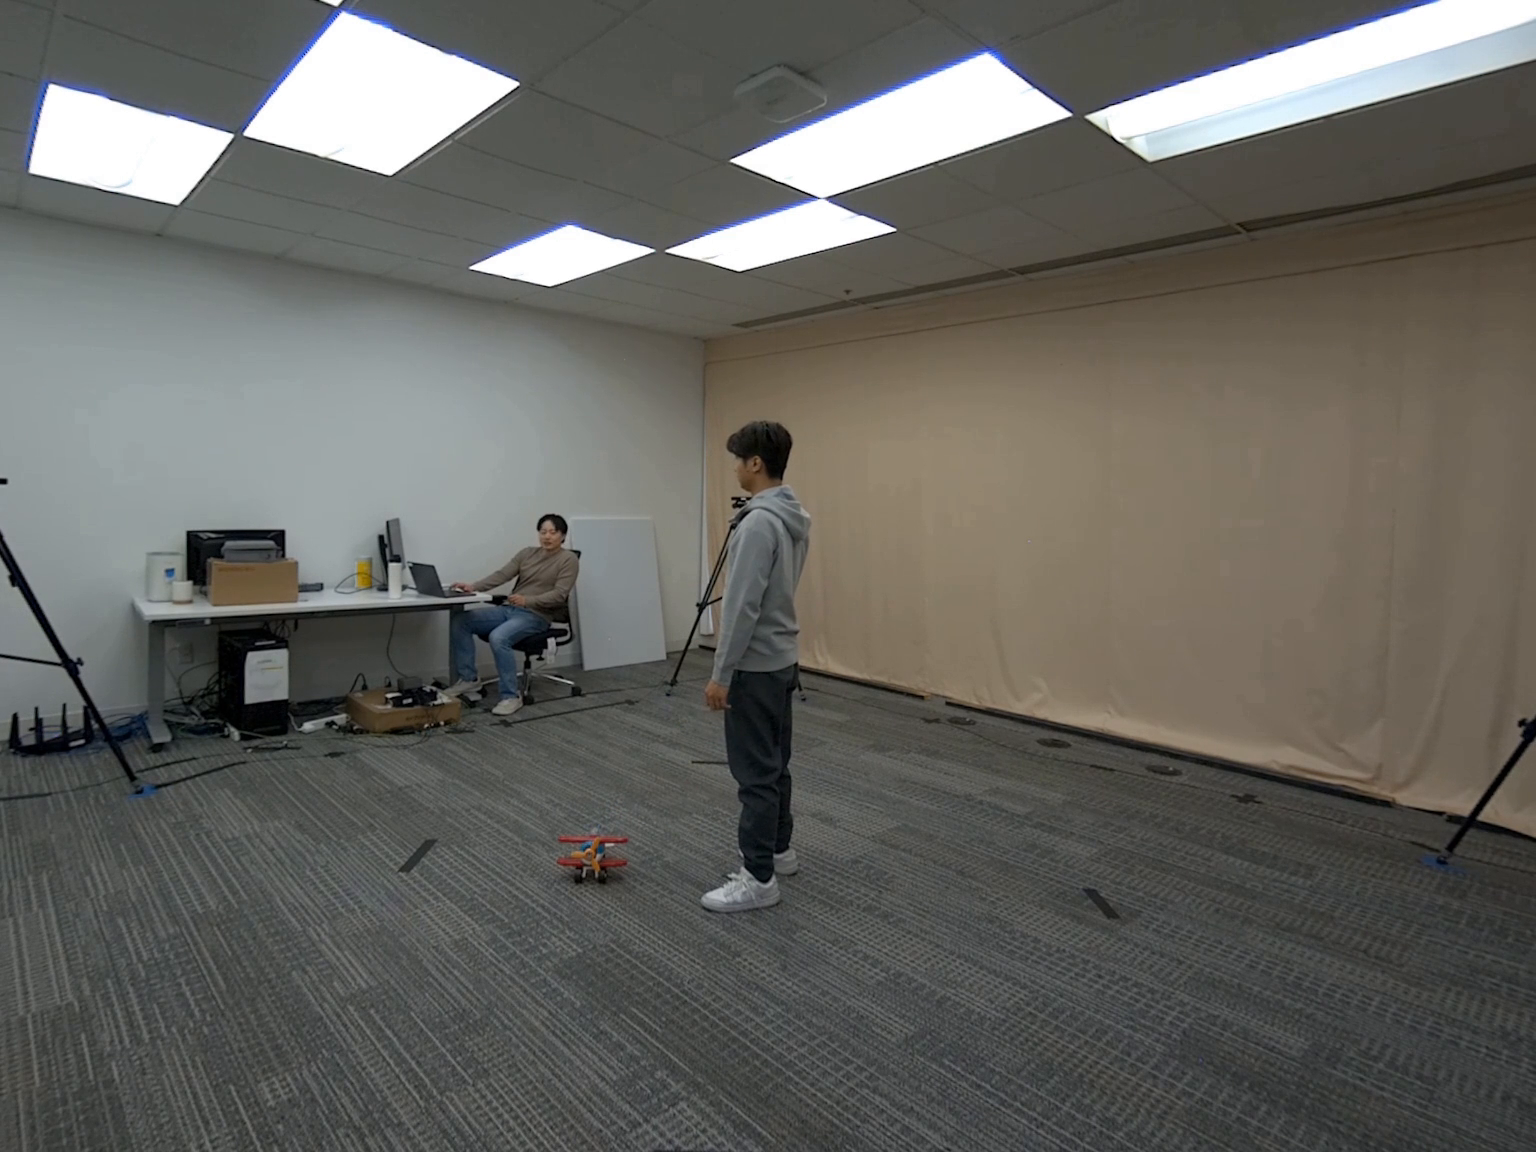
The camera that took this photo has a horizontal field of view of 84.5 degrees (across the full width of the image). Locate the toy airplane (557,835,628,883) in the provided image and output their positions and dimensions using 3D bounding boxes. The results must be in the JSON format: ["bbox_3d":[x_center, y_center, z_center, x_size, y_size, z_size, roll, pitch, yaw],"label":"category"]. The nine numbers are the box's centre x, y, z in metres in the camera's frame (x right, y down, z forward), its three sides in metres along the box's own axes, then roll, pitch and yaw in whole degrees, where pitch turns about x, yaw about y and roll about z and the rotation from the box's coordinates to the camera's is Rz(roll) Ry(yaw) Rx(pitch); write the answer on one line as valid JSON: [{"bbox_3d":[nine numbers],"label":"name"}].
[{"bbox_3d":[-0.673,1.027,3.111,0.246,0.156,0.265,-2,5,-26],"label":"toy airplane"}]
